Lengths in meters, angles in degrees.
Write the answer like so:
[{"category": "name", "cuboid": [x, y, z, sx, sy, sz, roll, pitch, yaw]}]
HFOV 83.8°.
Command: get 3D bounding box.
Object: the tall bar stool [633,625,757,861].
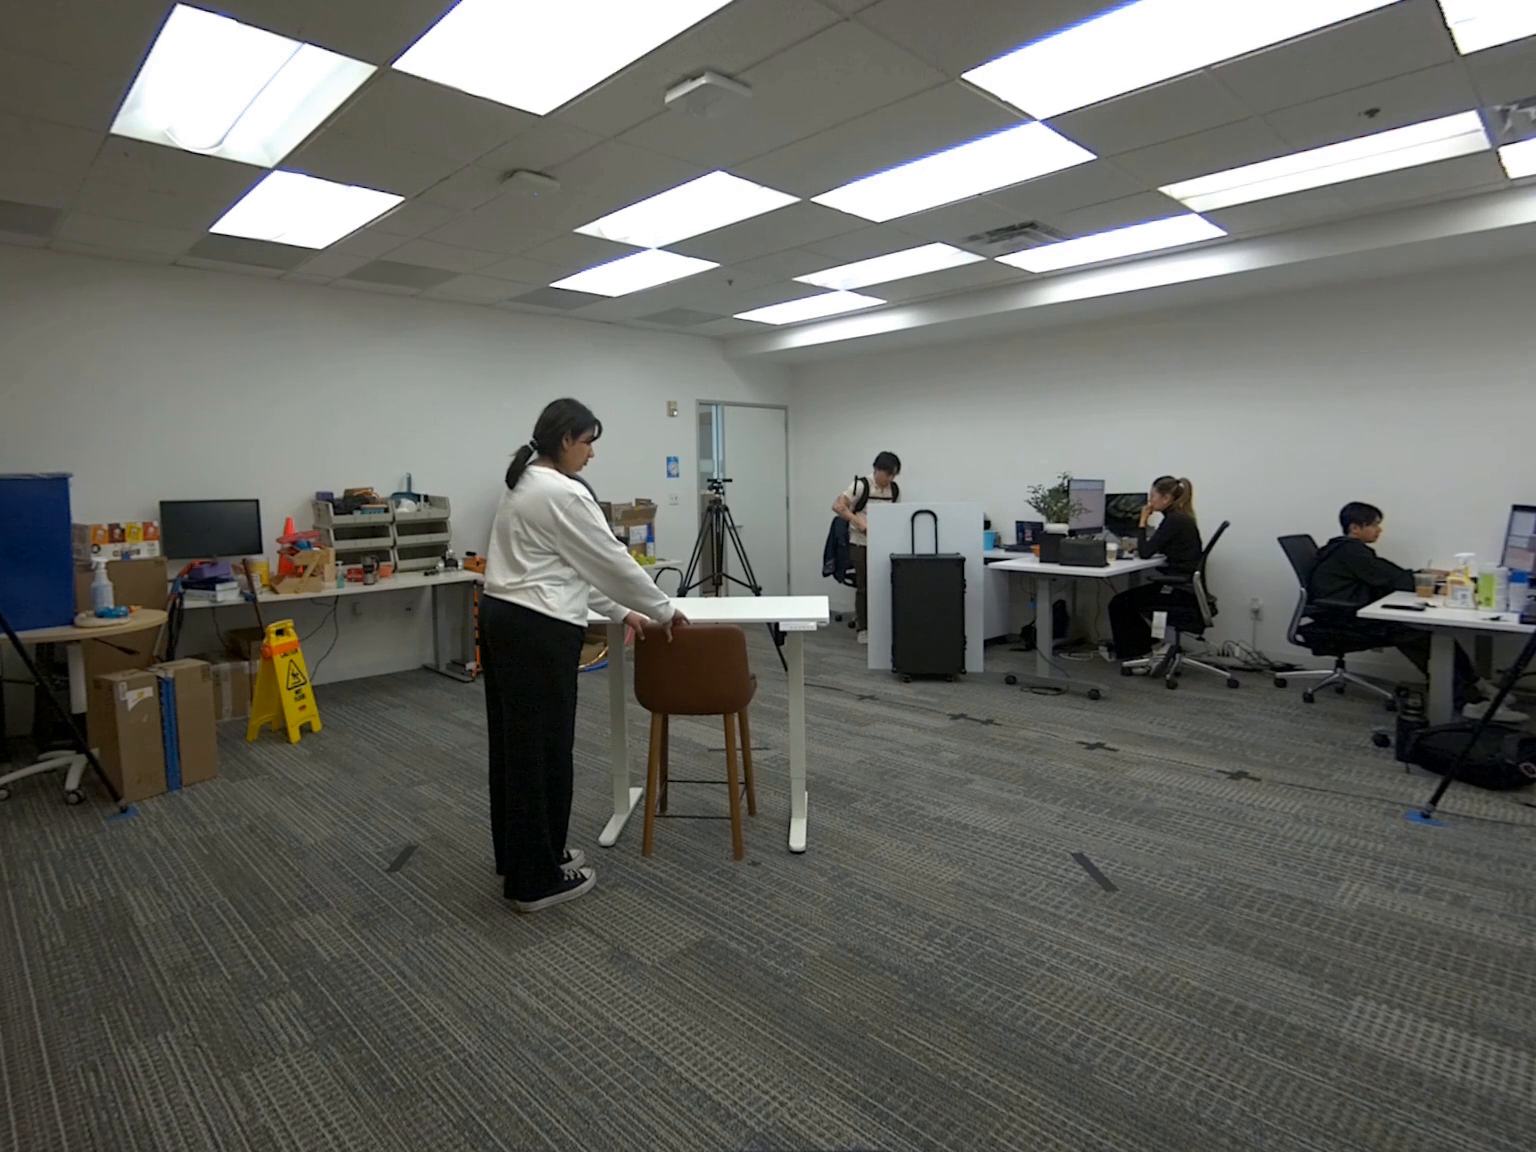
[{"category": "tall bar stool", "cuboid": [-0.282, 0.590, 3.346, 0.460, 0.886, 0.466, 0, 5, 7]}]
